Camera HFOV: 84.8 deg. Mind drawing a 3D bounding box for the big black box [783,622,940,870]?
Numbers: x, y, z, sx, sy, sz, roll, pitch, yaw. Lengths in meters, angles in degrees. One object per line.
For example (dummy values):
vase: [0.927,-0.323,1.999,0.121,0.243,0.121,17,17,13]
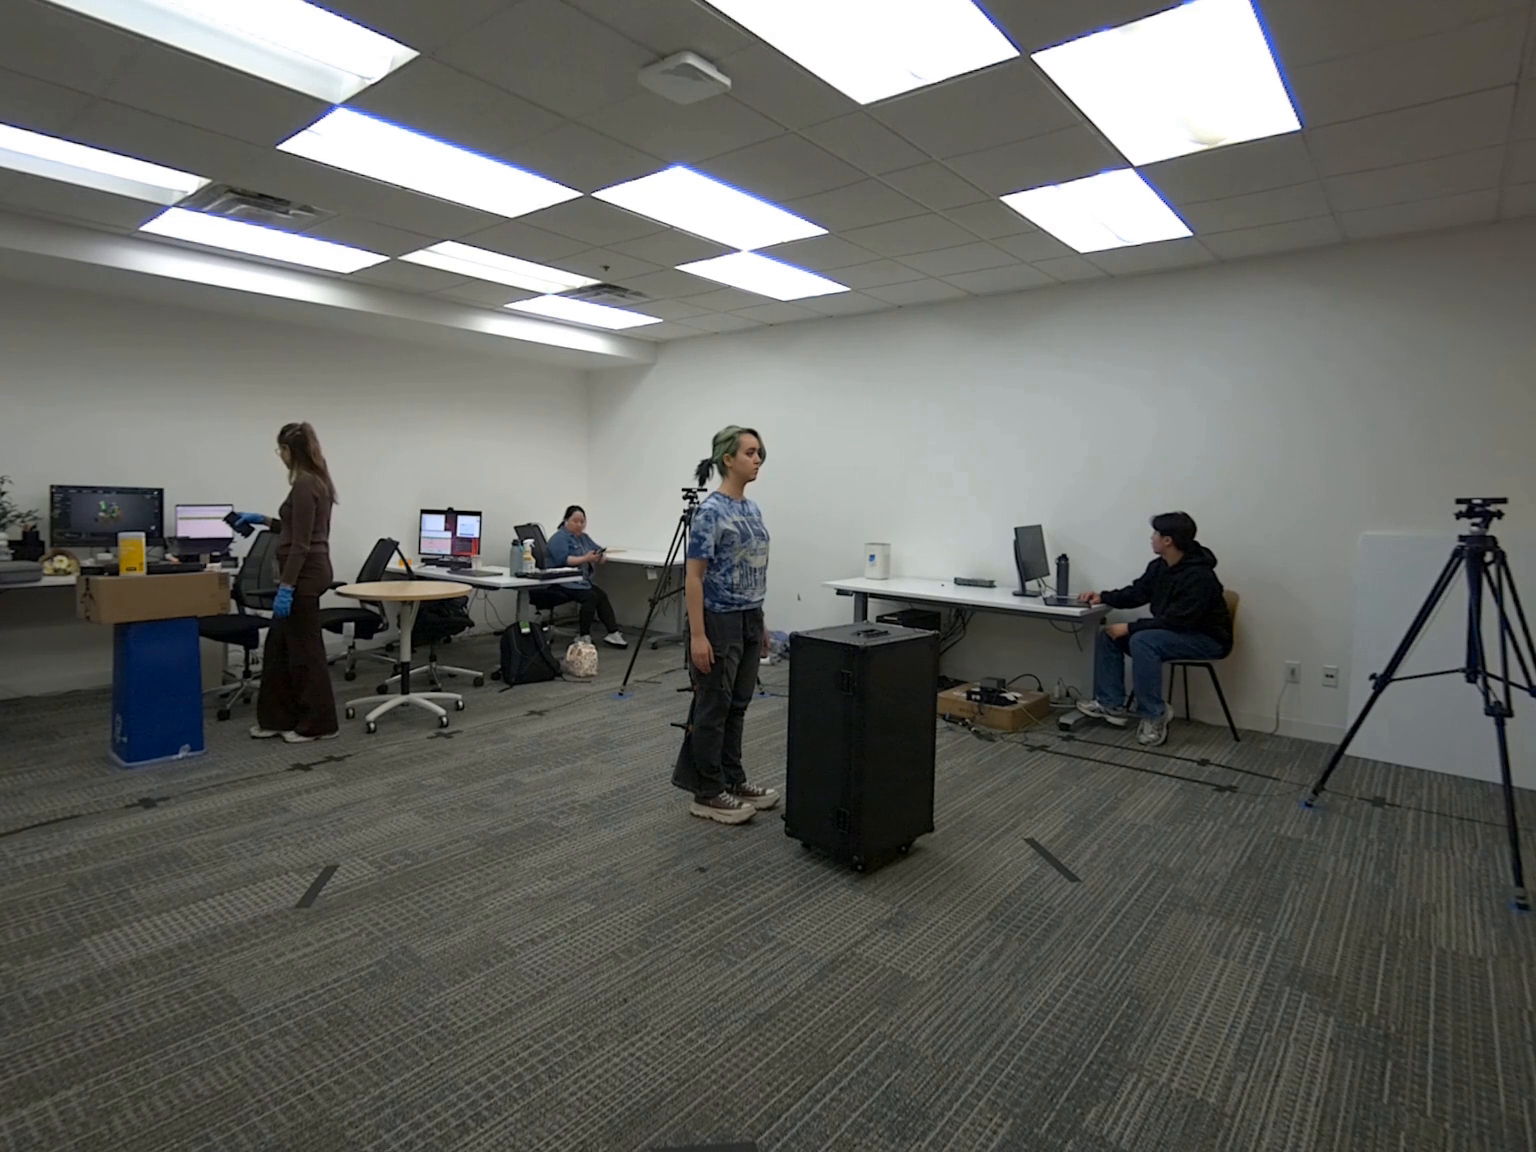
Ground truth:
big black box: [0.345,0.637,3.284,0.505,0.859,0.410,-2,4,-45]
